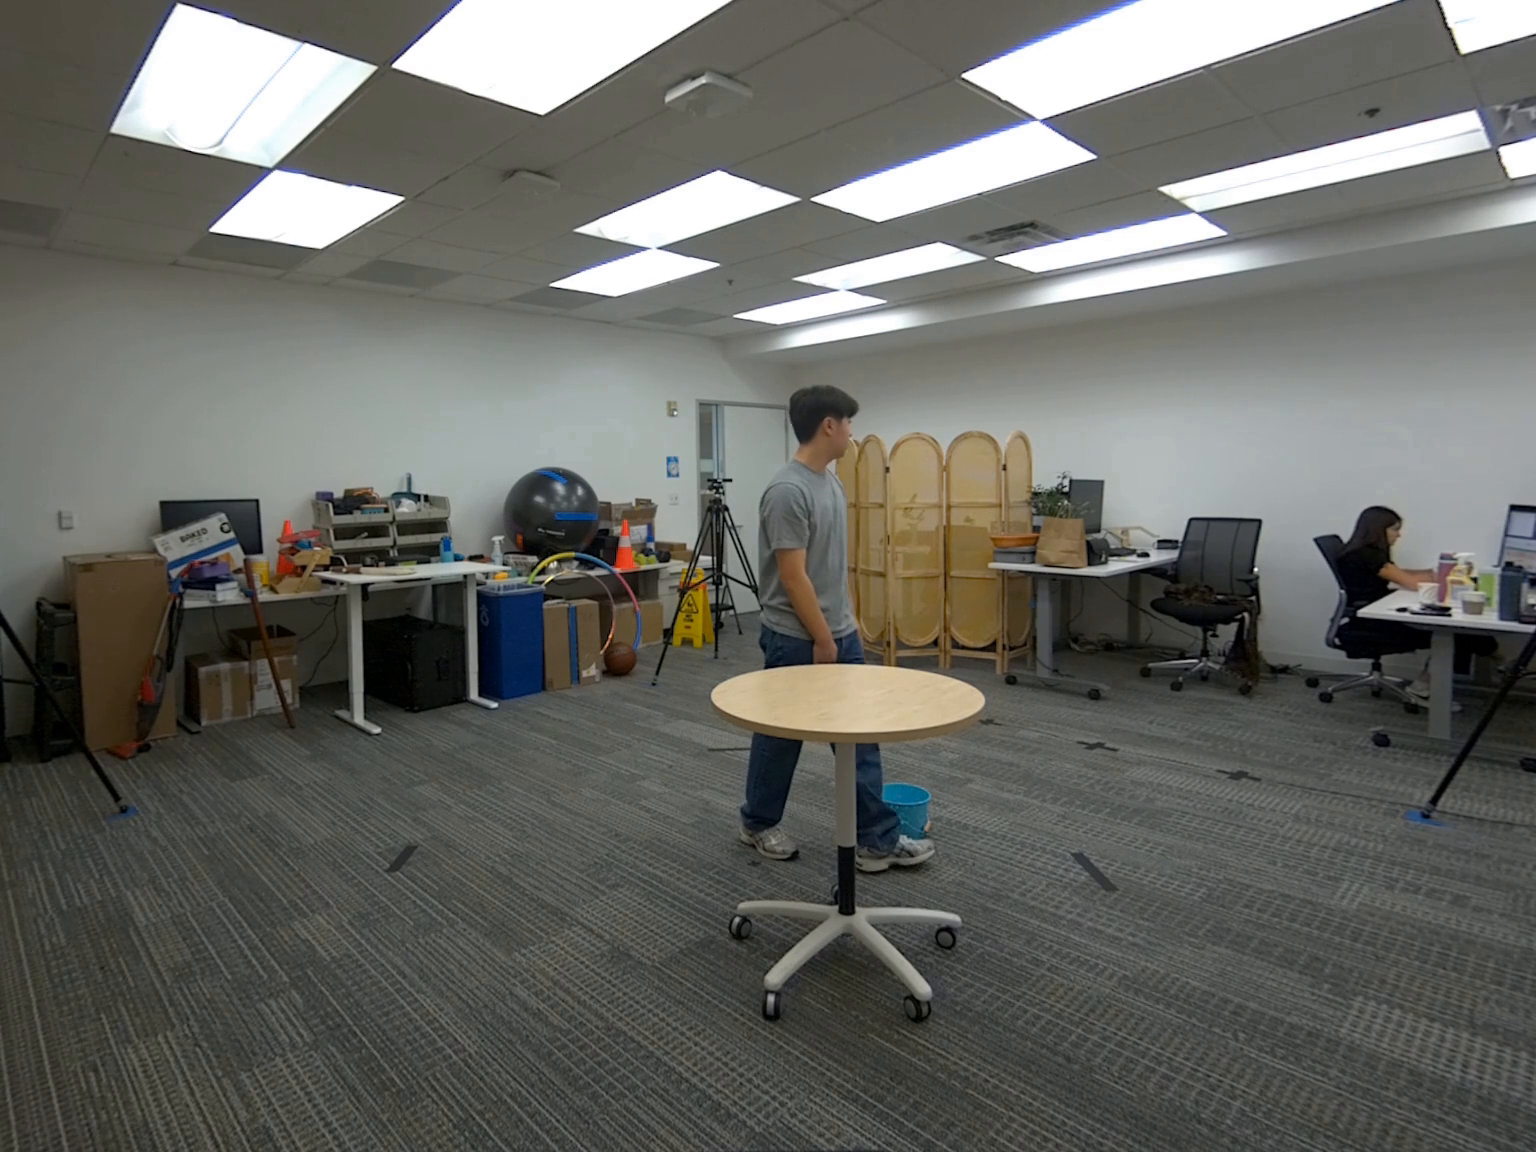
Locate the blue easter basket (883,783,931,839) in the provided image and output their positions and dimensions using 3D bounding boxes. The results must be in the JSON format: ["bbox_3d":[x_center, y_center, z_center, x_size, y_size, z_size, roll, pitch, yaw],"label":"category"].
[{"bbox_3d":[0.528,0.931,3.355,0.243,0.155,0.245,-2,5,-2],"label":"blue easter basket"}]
